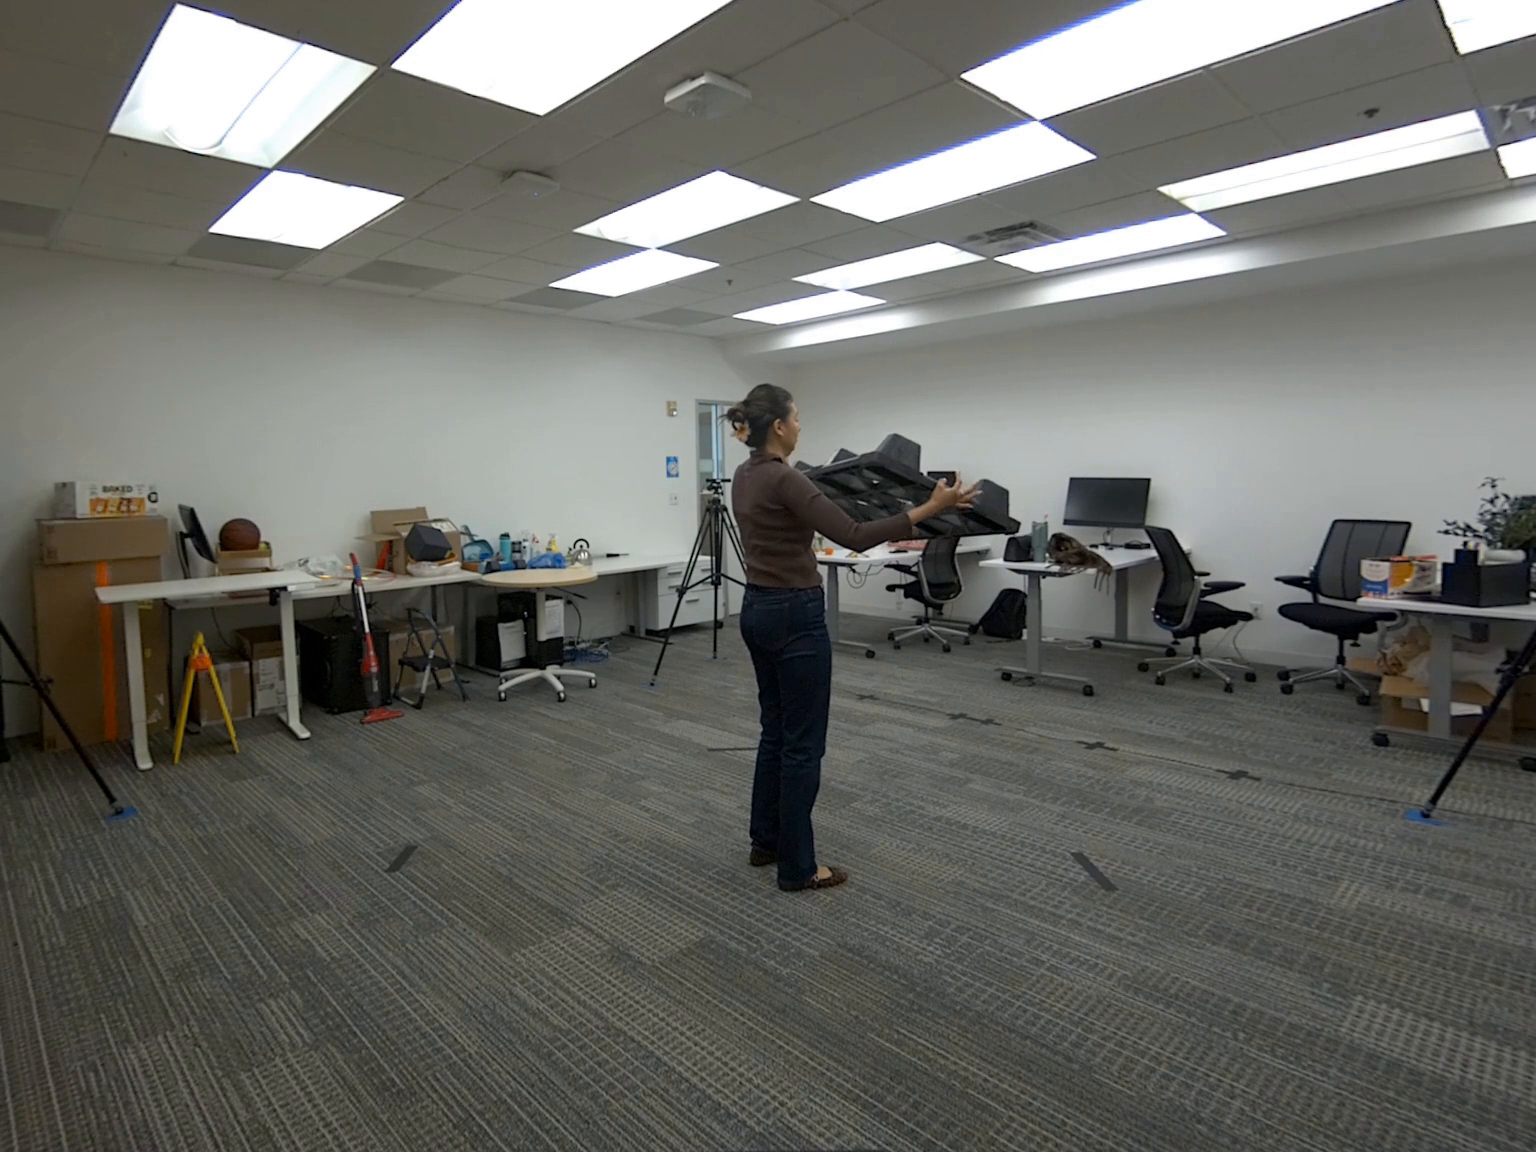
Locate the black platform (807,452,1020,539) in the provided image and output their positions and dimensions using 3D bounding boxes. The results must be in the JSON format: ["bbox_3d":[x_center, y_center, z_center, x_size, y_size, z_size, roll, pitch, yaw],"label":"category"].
[{"bbox_3d":[0.444,-0.298,3.095,0.591,0.144,0.820,23,-9,-20],"label":"black platform"}]
